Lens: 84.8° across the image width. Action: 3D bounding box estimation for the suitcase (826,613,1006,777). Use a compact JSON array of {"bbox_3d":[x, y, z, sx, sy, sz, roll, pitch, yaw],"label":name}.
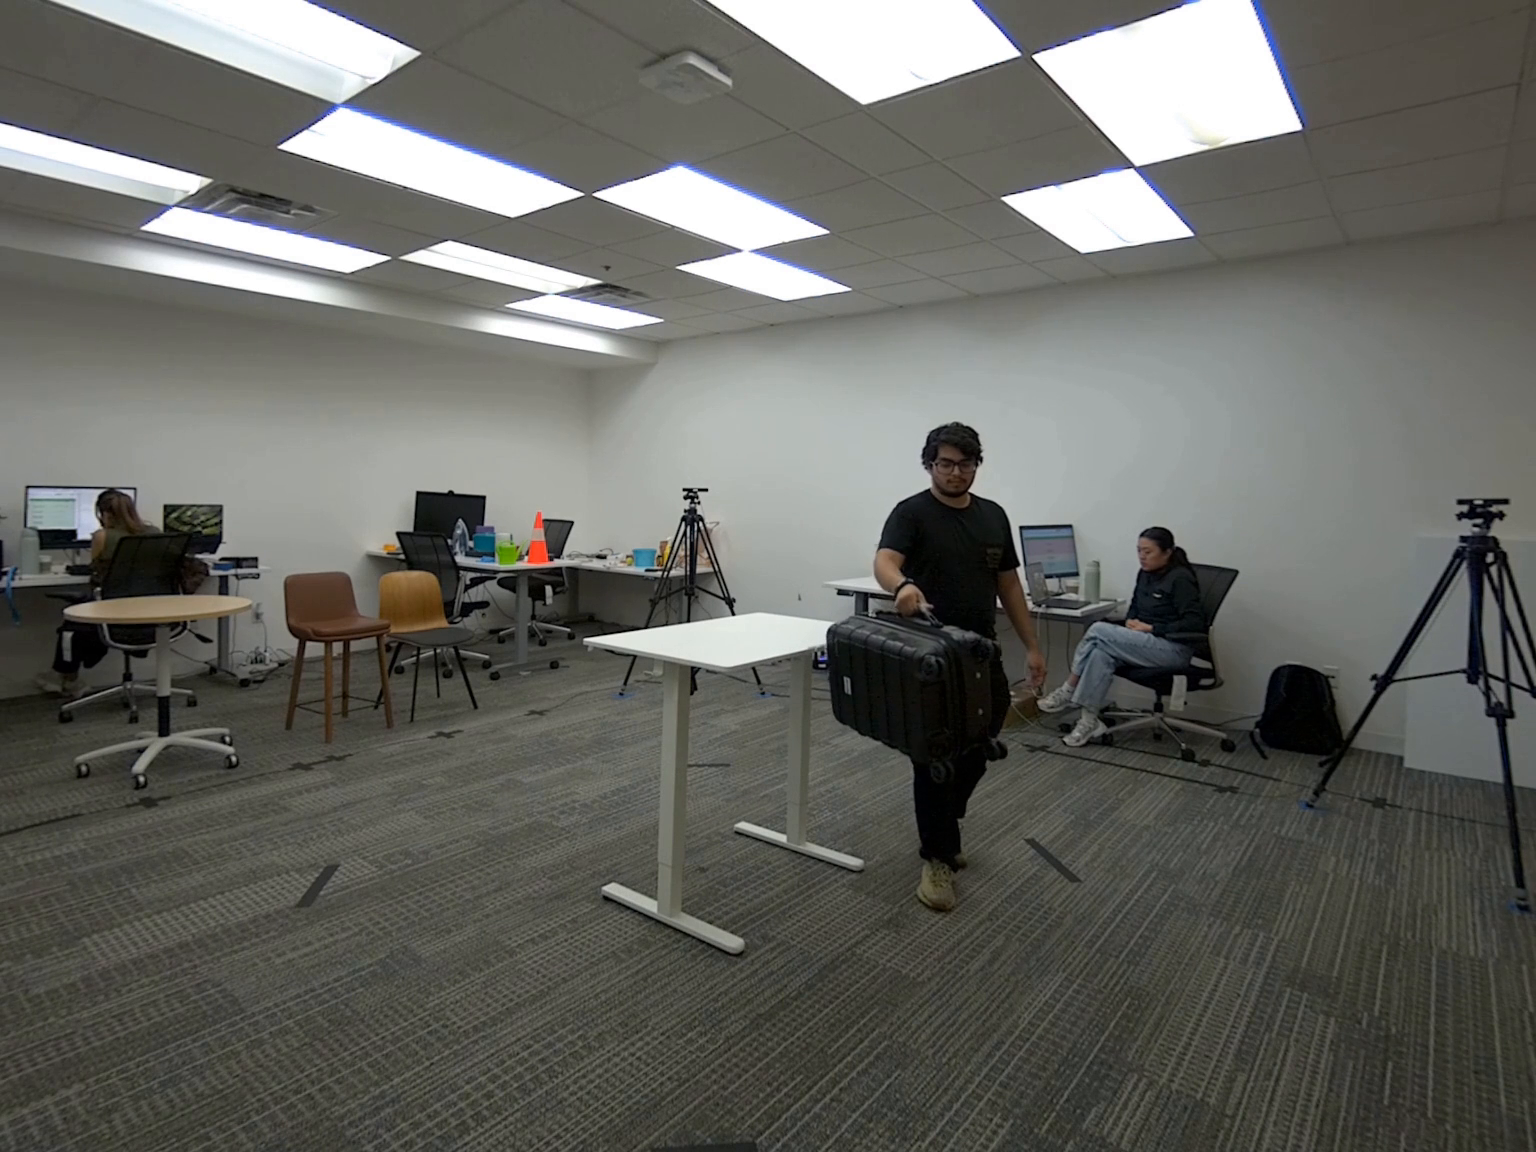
[{"bbox_3d":[0.410,0.311,2.568,0.243,0.371,0.567,-11,12,-29],"label":"suitcase"}]
